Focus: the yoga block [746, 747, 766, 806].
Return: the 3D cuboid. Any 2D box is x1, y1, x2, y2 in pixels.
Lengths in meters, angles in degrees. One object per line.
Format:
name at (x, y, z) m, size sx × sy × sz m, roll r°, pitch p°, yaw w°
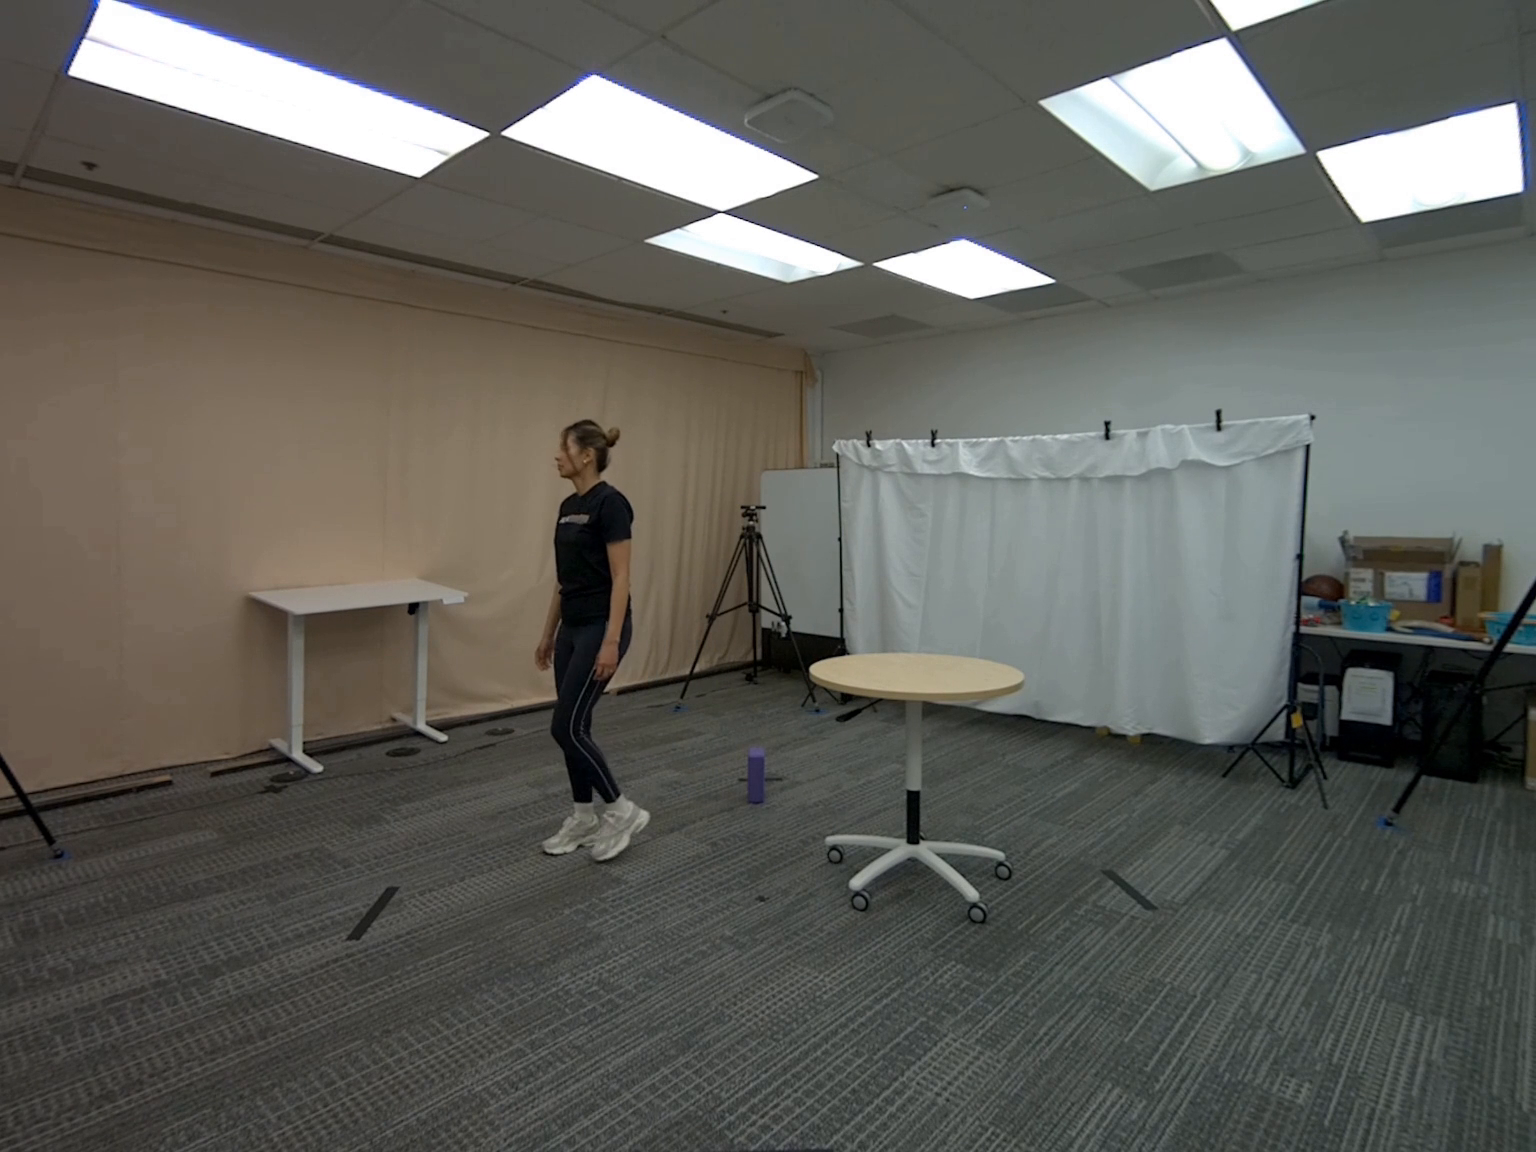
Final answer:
yoga block at (-0.058, 0.944, 4.008) m, size 0.077 × 0.229 × 0.148 m, roll -3°, pitch 1°, yaw 2°
